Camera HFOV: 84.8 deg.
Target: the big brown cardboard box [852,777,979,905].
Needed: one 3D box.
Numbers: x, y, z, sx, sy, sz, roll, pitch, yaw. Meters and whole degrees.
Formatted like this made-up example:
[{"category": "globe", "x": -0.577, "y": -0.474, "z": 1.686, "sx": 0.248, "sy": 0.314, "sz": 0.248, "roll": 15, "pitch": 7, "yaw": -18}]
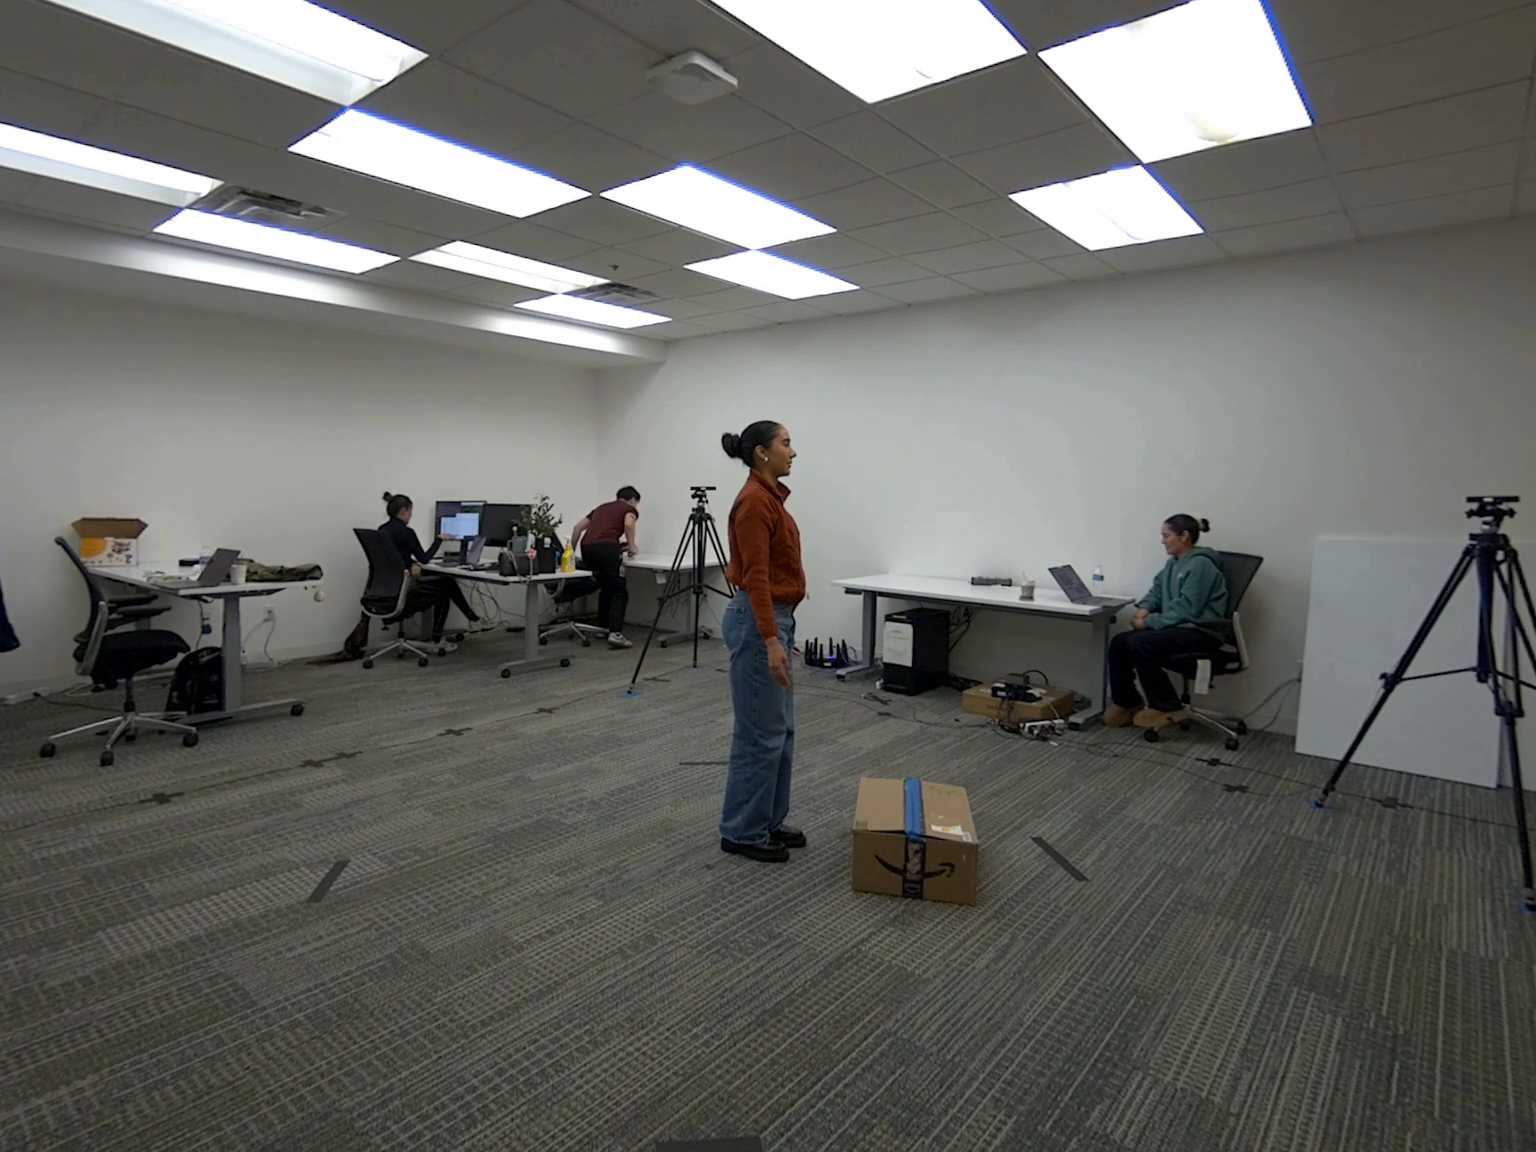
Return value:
[{"category": "big brown cardboard box", "x": 0.528, "y": 0.958, "z": 3.170, "sx": 0.422, "sy": 0.232, "sz": 0.584, "roll": 2, "pitch": 5, "yaw": 9}]
